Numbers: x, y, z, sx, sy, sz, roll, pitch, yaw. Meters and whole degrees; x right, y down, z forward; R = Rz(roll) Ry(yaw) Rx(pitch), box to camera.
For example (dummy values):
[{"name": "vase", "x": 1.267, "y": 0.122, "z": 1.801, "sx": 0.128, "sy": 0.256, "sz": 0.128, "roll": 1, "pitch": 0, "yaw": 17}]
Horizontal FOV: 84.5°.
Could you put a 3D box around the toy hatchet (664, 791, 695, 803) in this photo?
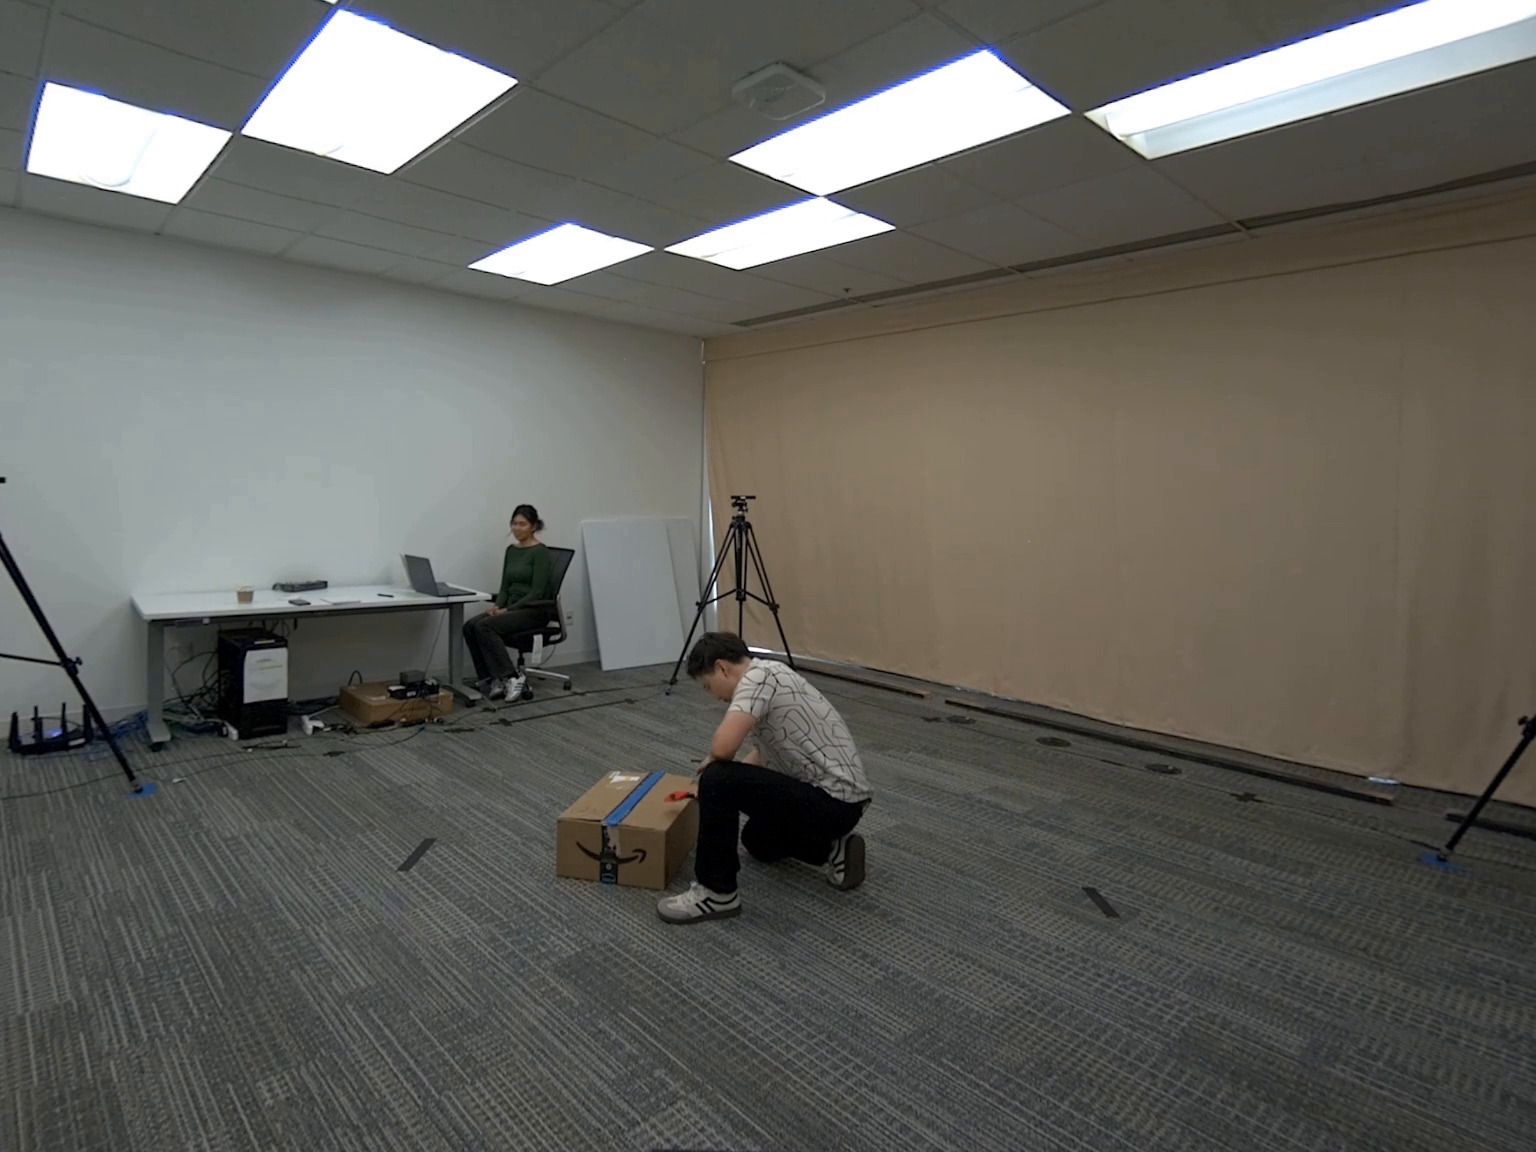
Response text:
[{"name": "toy hatchet", "x": -0.305, "y": 0.853, "z": 3.200, "sx": 0.132, "sy": 0.030, "sz": 0.262, "roll": -22, "pitch": -26, "yaw": 14}]
